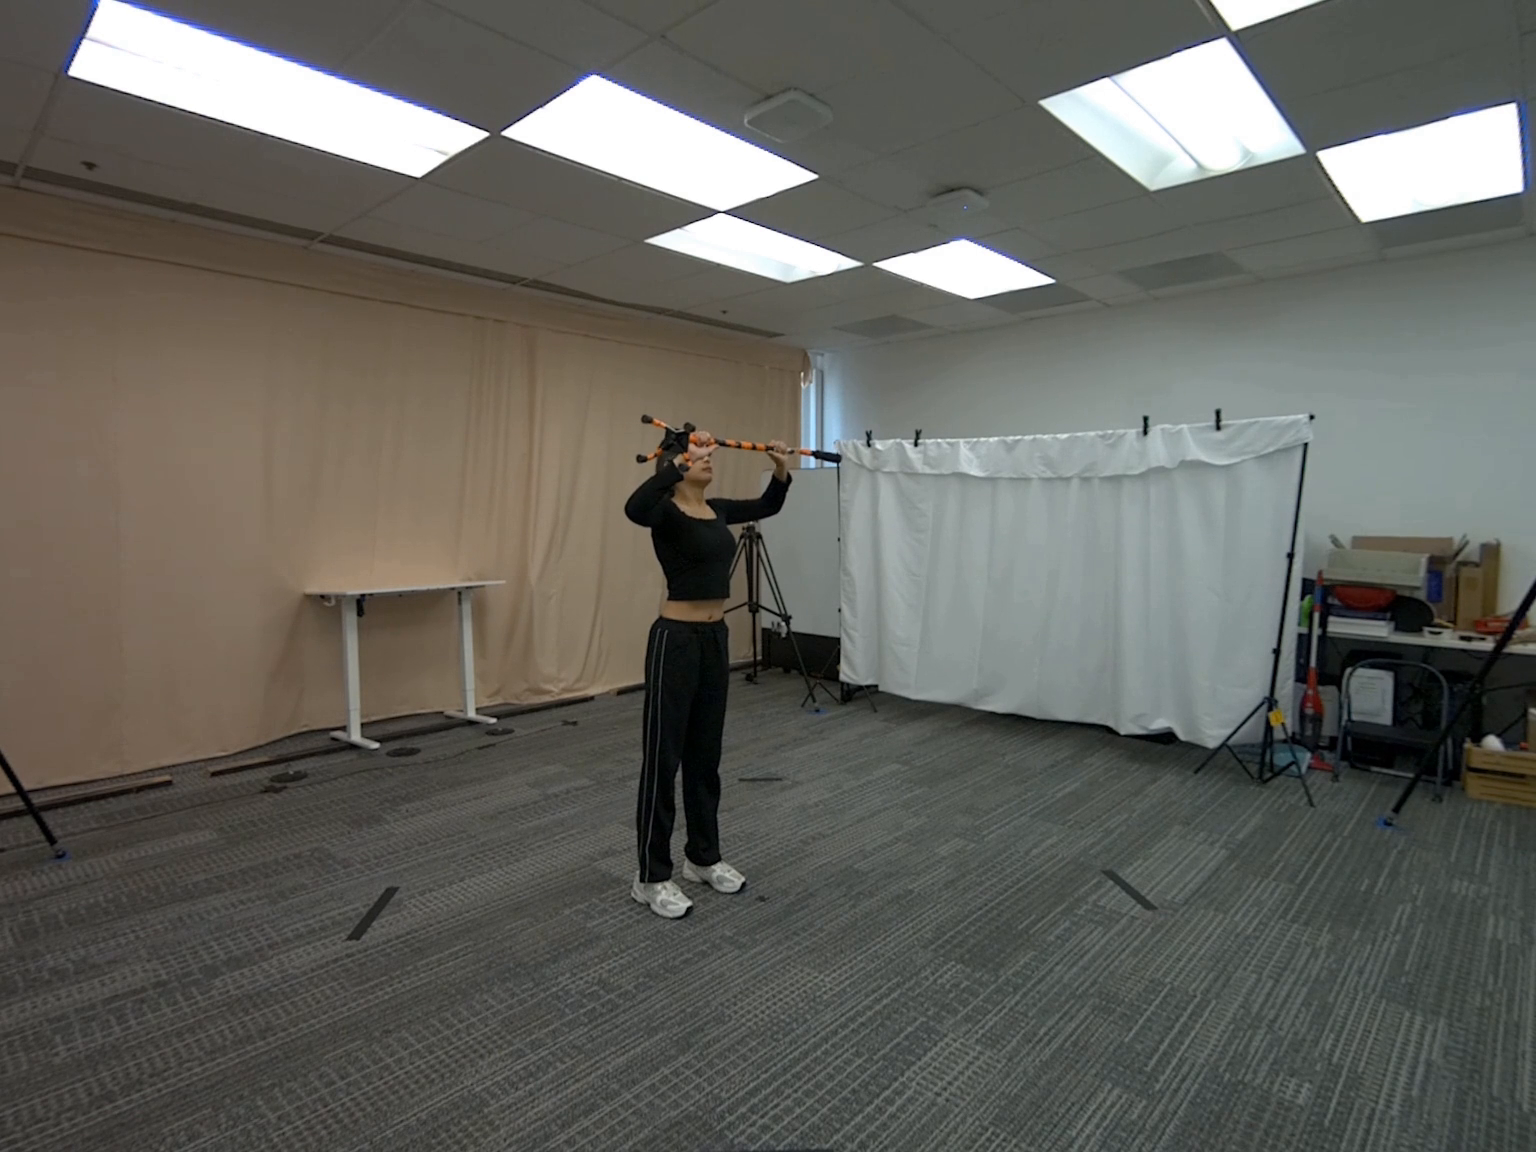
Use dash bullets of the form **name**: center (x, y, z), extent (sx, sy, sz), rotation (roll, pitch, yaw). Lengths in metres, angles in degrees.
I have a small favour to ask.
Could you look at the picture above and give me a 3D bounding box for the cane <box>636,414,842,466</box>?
- **cane**: center (-0.055, -0.434, 2.903), extent (0.214, 0.151, 0.881), rotation (17, 13, 35)
